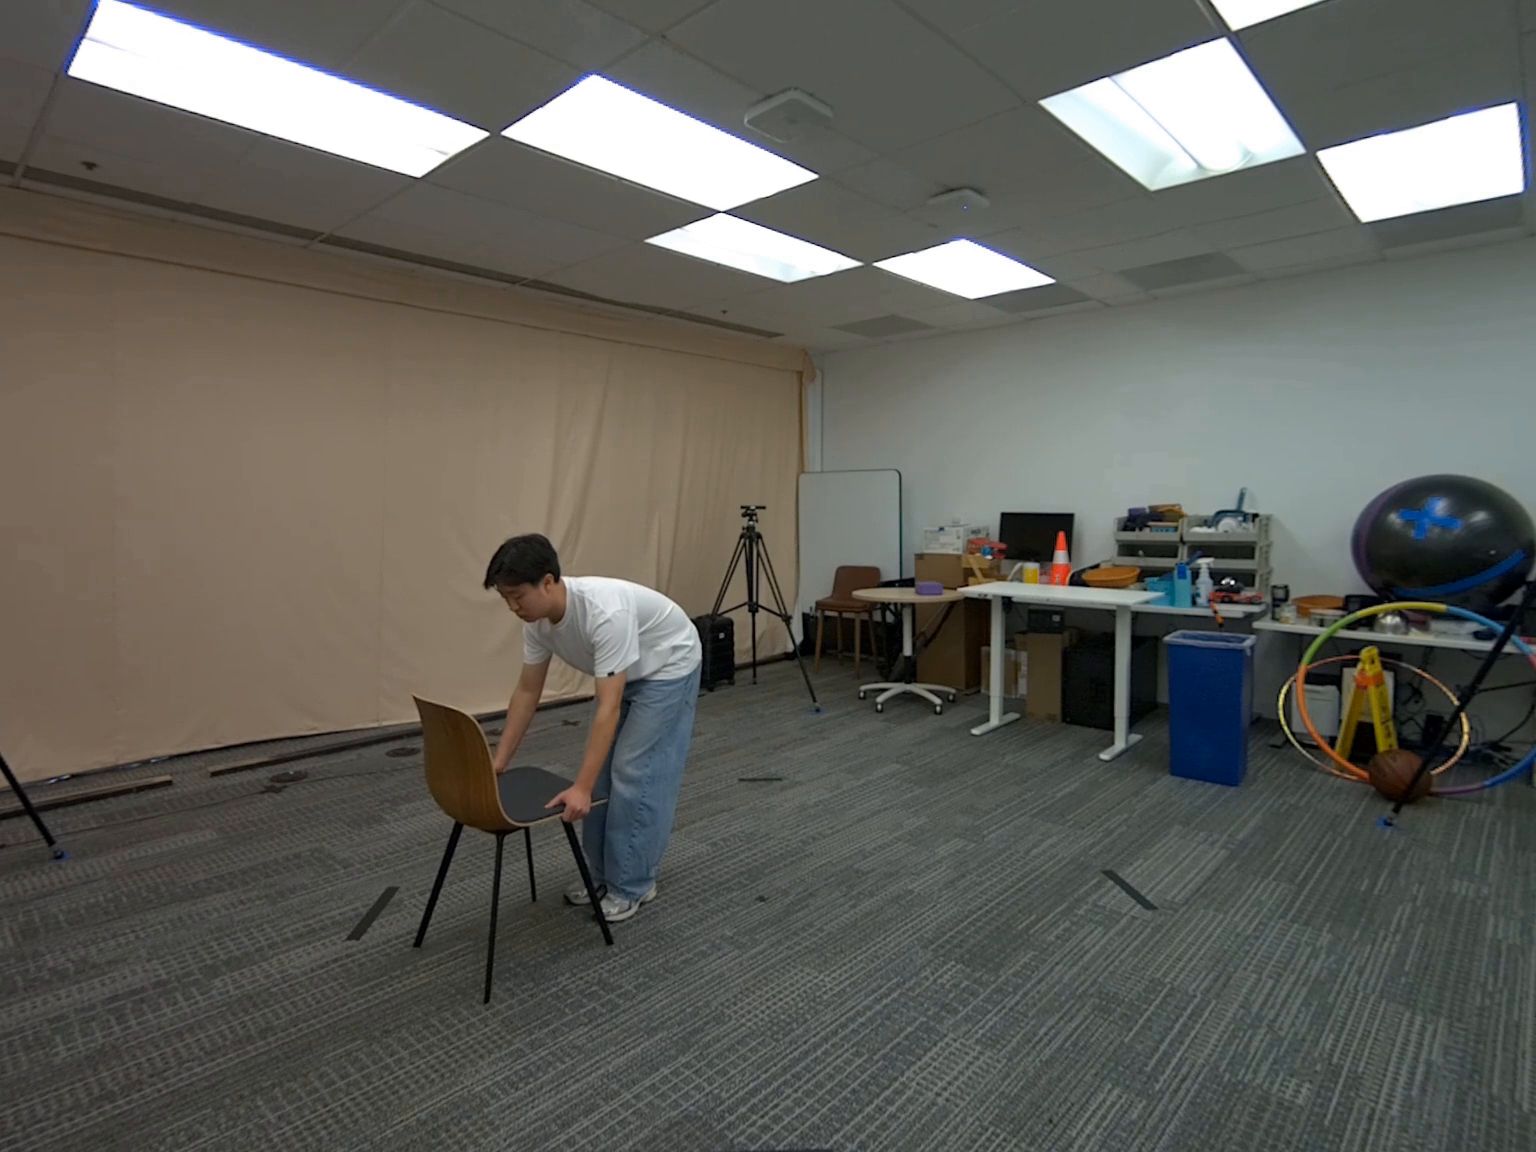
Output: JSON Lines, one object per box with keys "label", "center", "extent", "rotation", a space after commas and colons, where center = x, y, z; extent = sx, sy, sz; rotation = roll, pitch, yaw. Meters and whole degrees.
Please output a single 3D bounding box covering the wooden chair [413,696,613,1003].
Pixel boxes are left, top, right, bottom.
{"label": "wooden chair", "center": [-0.796, 0.738, 2.663], "extent": [0.494, 0.874, 0.508], "rotation": [2, 7, 43]}
